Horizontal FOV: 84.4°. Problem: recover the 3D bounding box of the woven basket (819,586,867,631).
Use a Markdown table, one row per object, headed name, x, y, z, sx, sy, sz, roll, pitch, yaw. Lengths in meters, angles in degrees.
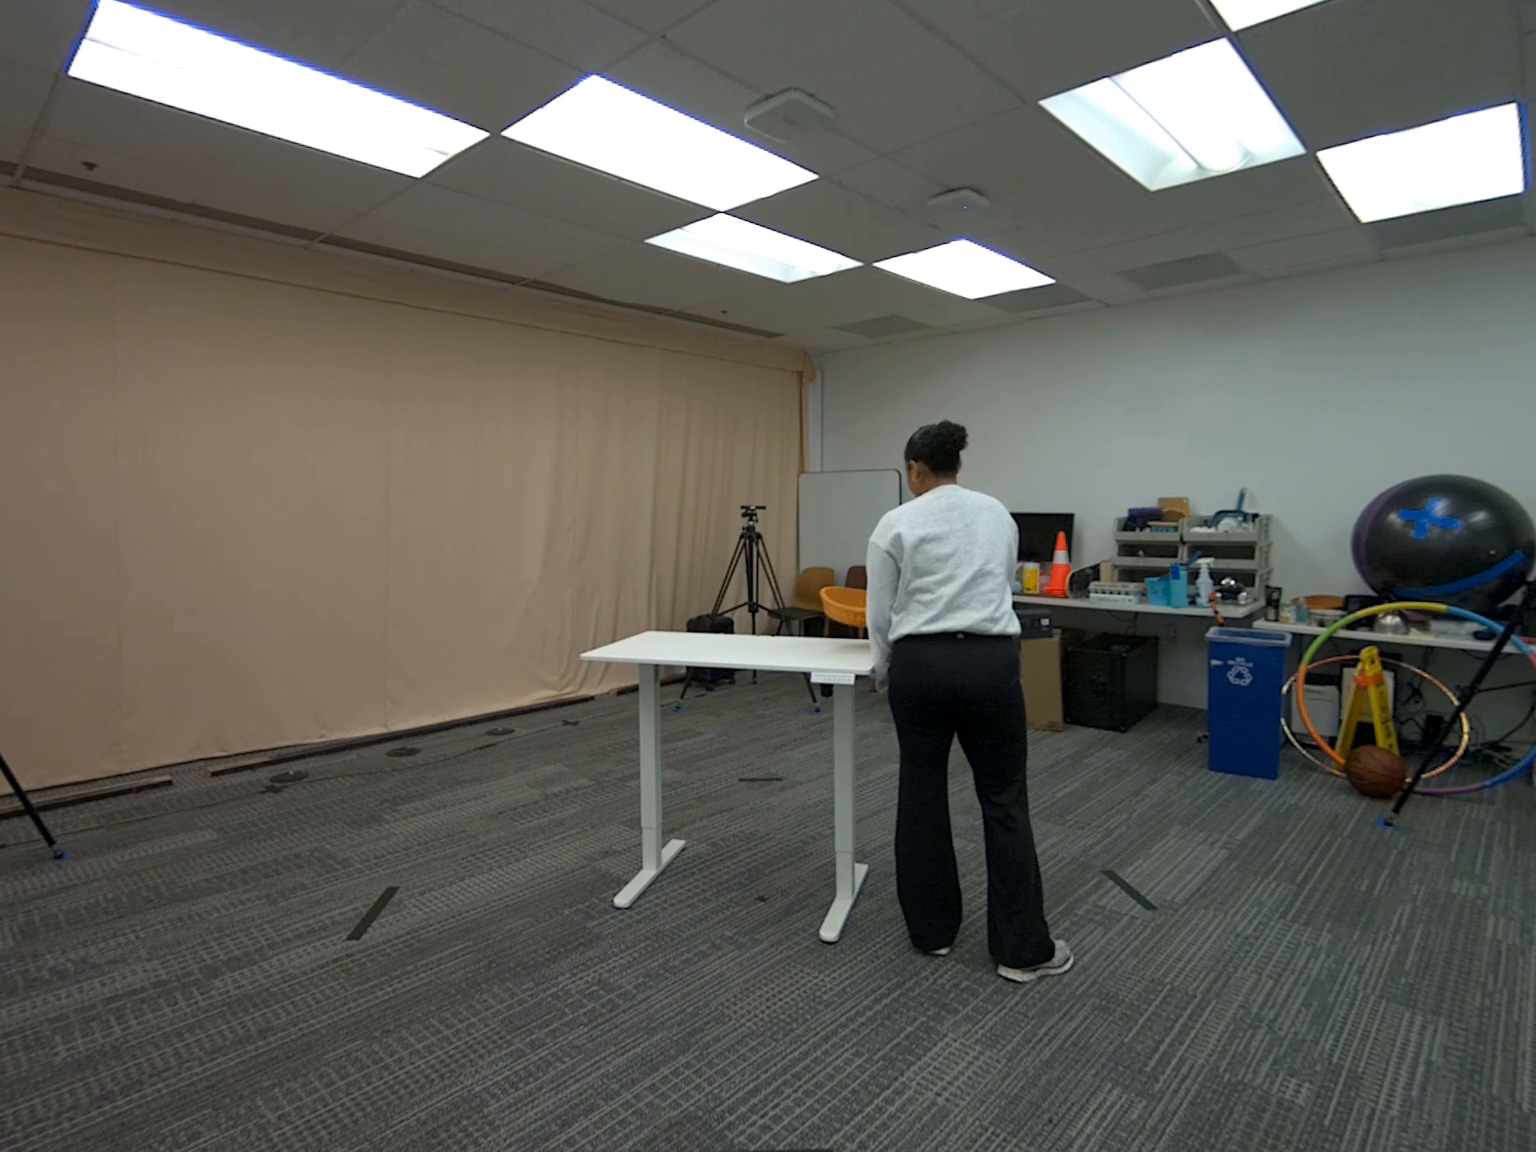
| name | x | y | z | sx | sy | sz | roll | pitch | yaw |
| --- | --- | --- | --- | --- | --- | --- | --- | --- | --- |
| woven basket | 0.391 | 0.143 | 3.011 | 0.347 | 0.073 | 0.256 | 8 | 16 | -8 |
